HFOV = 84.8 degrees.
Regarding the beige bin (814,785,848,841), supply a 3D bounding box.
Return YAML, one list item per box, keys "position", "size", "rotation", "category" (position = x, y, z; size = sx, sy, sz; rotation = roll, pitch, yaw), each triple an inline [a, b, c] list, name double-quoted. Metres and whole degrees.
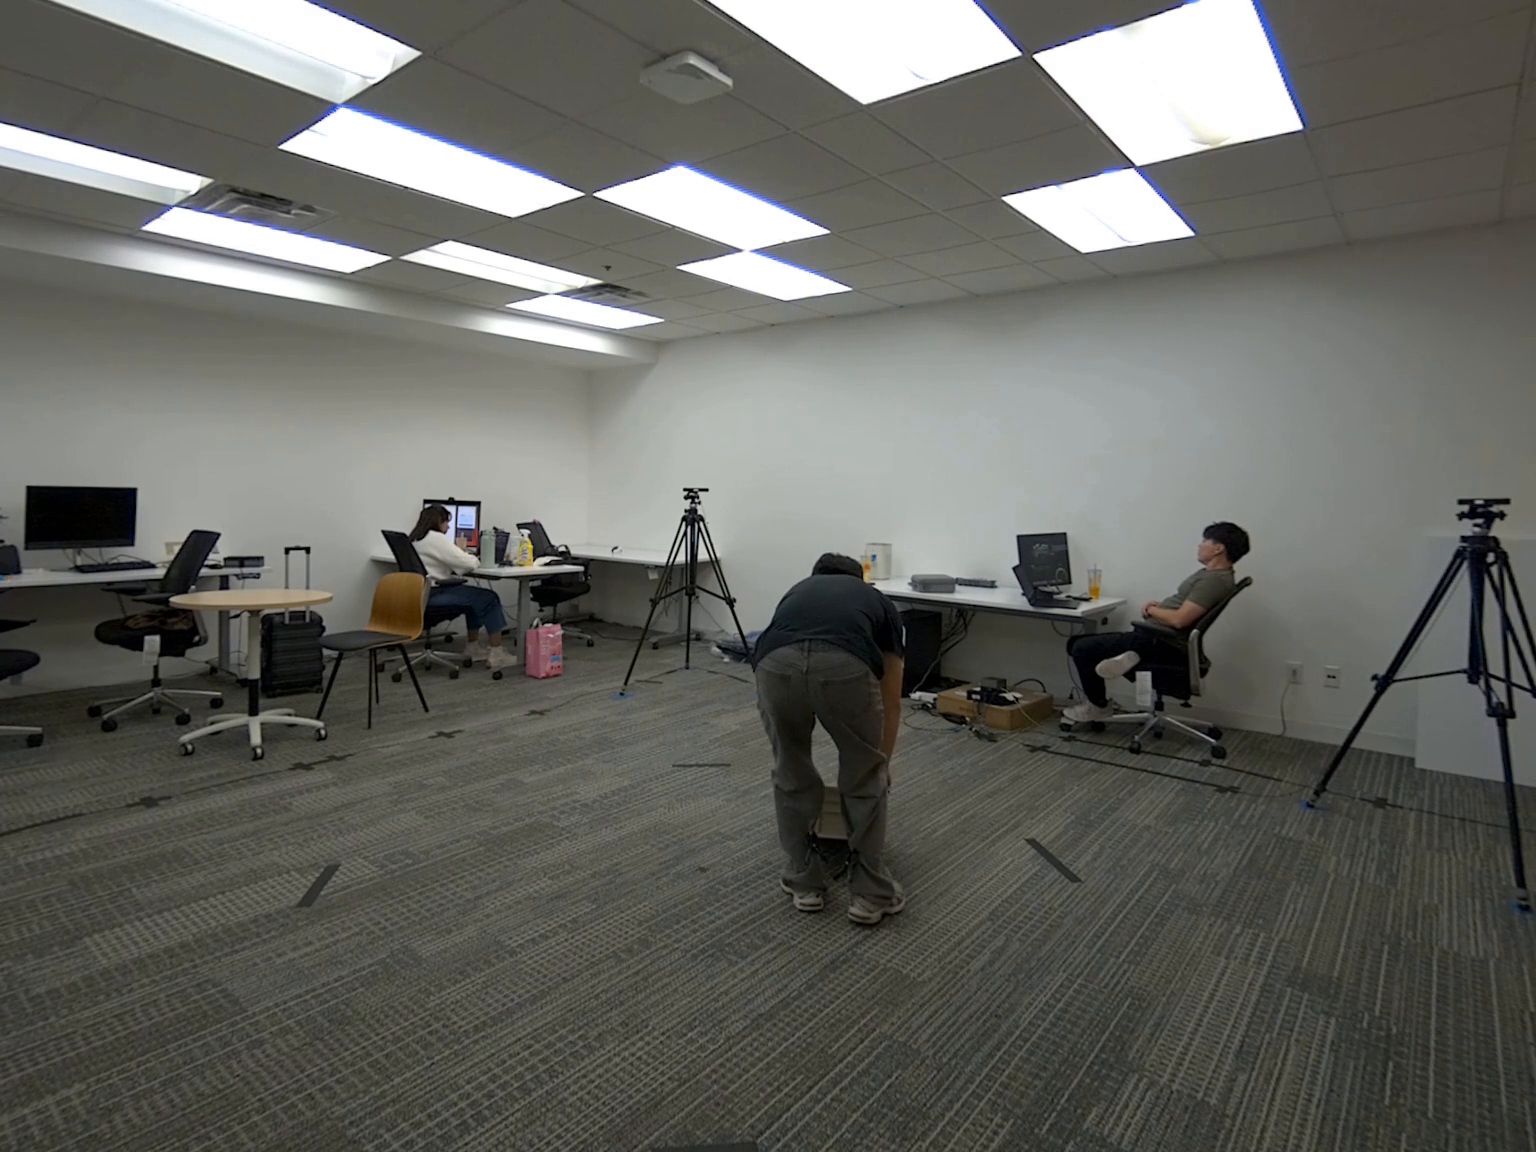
- position: [0.244, 0.910, 3.273]
  size: [0.379, 0.191, 0.414]
  rotation: [3, -15, 4]
  category: "beige bin"
